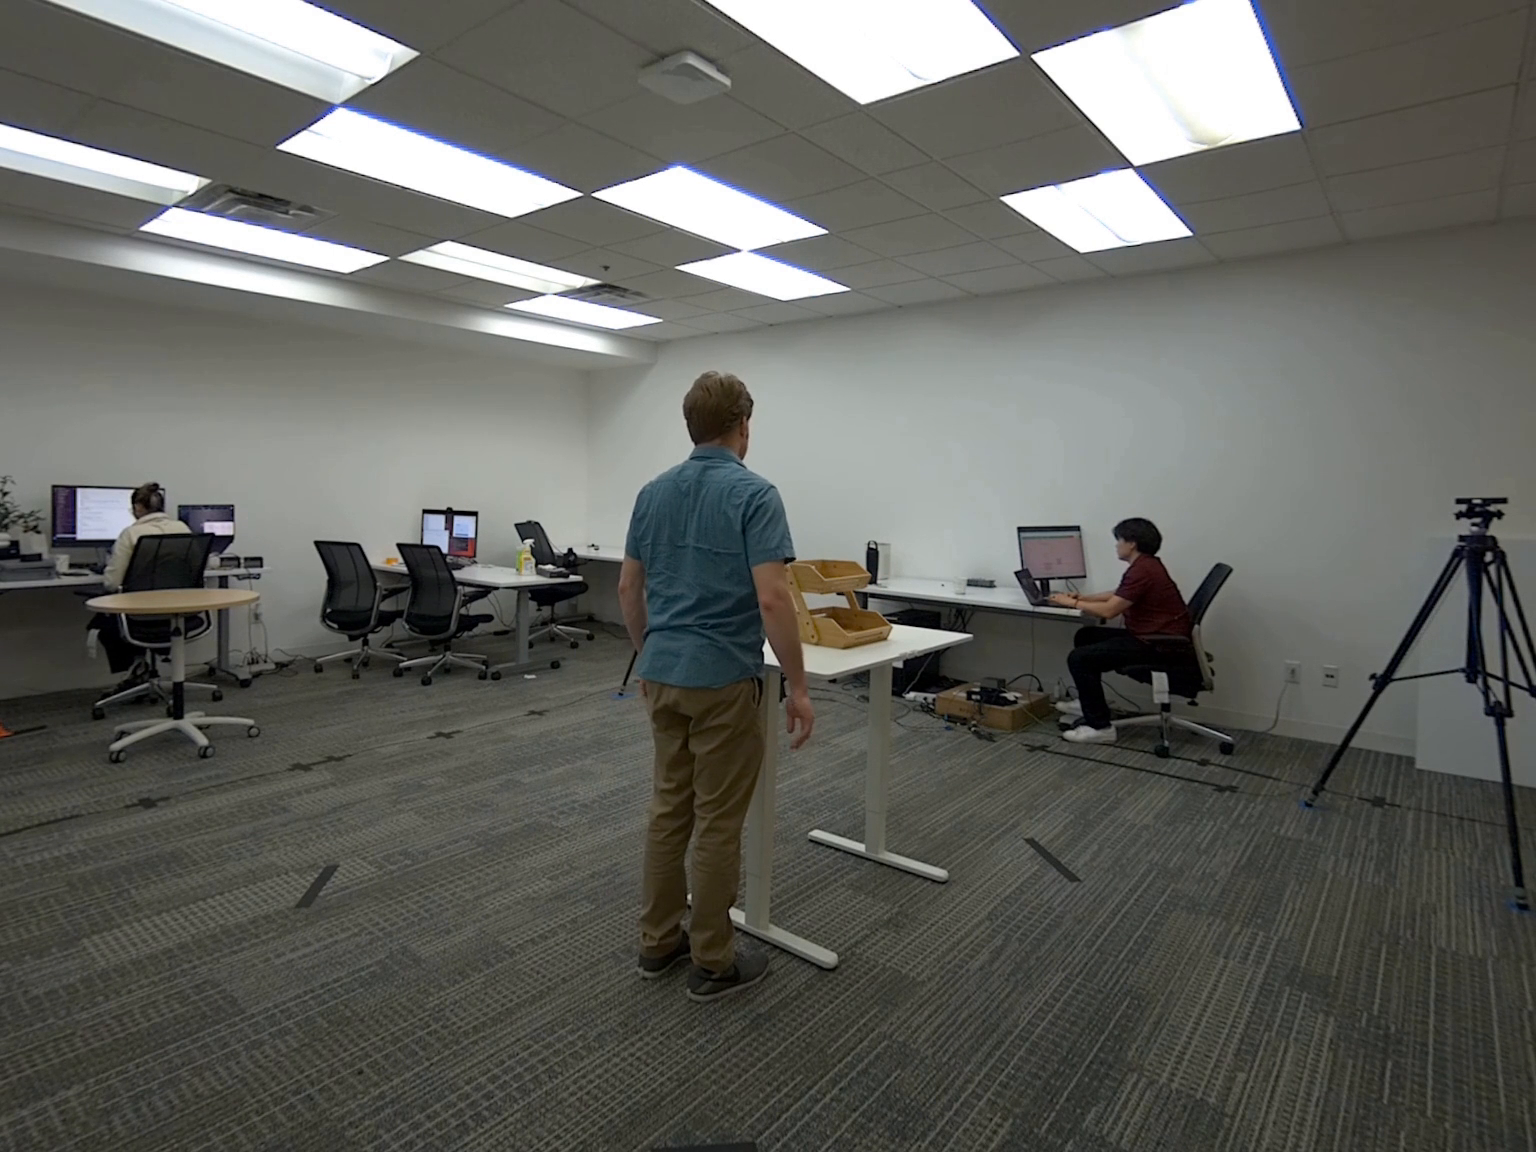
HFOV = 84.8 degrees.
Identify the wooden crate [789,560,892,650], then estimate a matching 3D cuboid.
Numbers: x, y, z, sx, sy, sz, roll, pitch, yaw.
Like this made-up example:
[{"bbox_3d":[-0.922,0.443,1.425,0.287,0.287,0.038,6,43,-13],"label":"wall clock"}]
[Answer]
[{"bbox_3d":[0.225,0.083,2.922,0.312,0.272,0.315,5,5,39],"label":"wooden crate"}]
